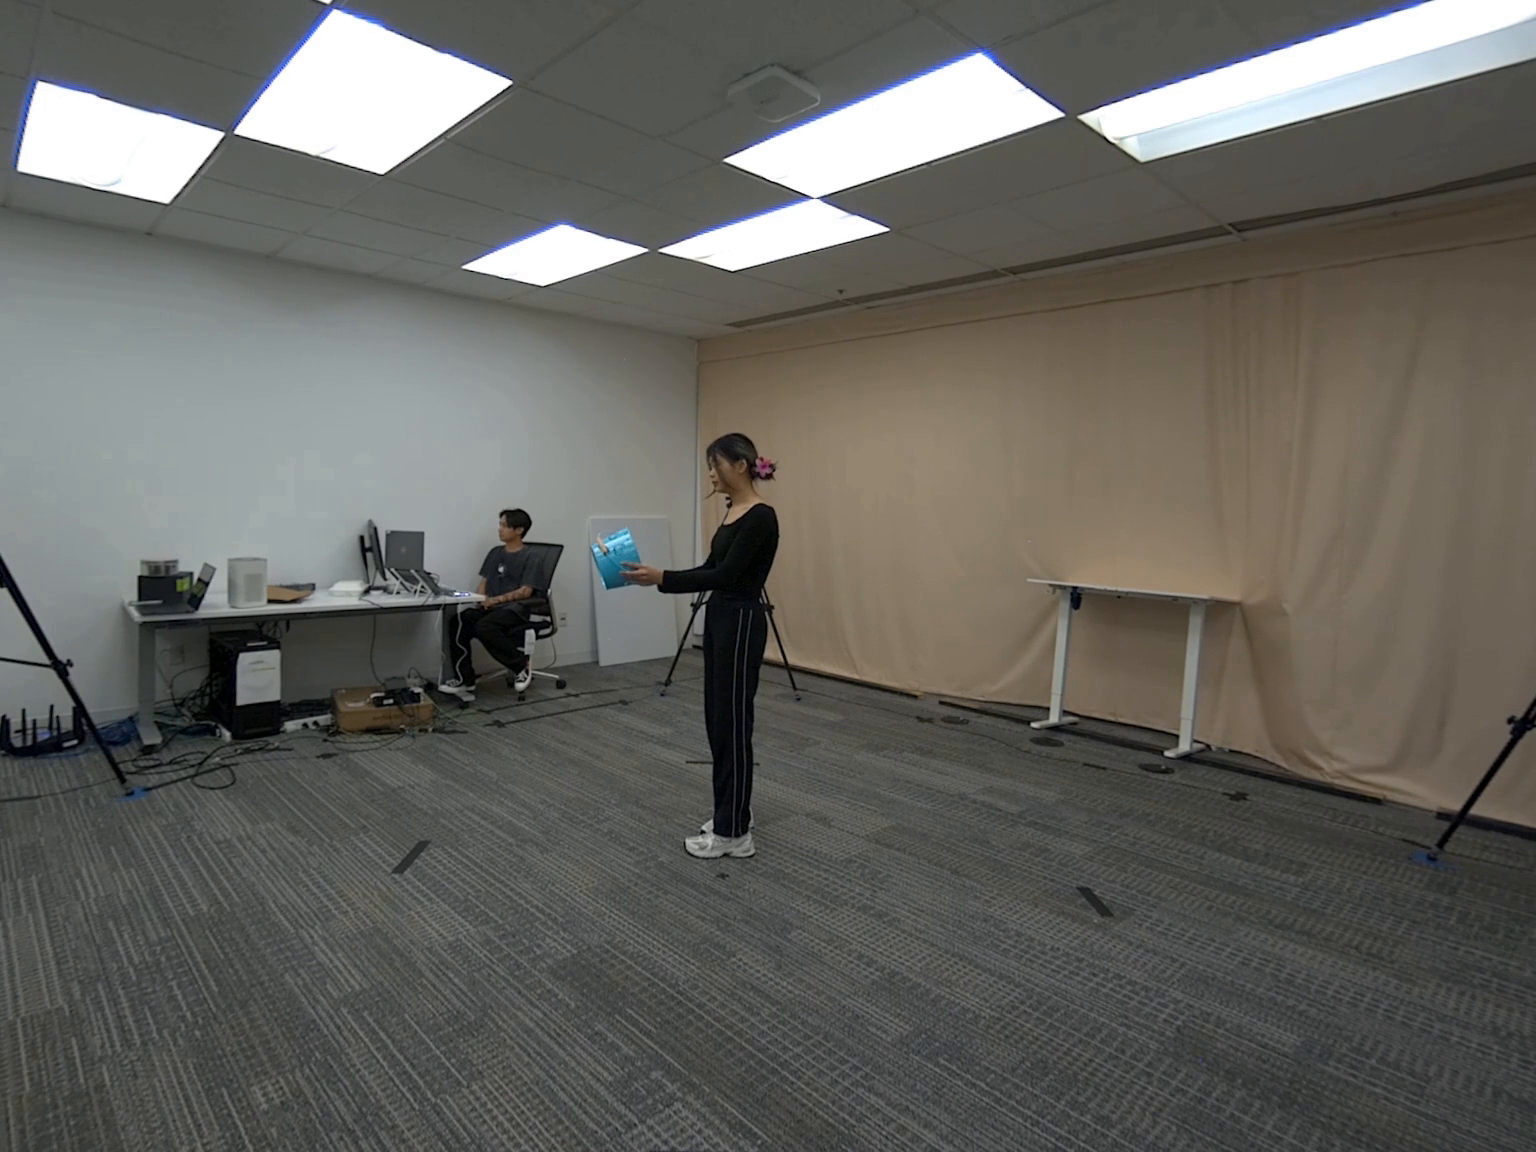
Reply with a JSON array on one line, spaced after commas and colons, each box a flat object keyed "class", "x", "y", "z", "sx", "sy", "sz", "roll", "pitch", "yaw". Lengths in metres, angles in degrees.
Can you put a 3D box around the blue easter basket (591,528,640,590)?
[{"class": "blue easter basket", "x": -0.579, "y": -0.055, "z": 3.242, "sx": 0.155, "sy": 0.242, "sz": 0.247, "roll": -19, "pitch": 8, "yaw": -11}]
